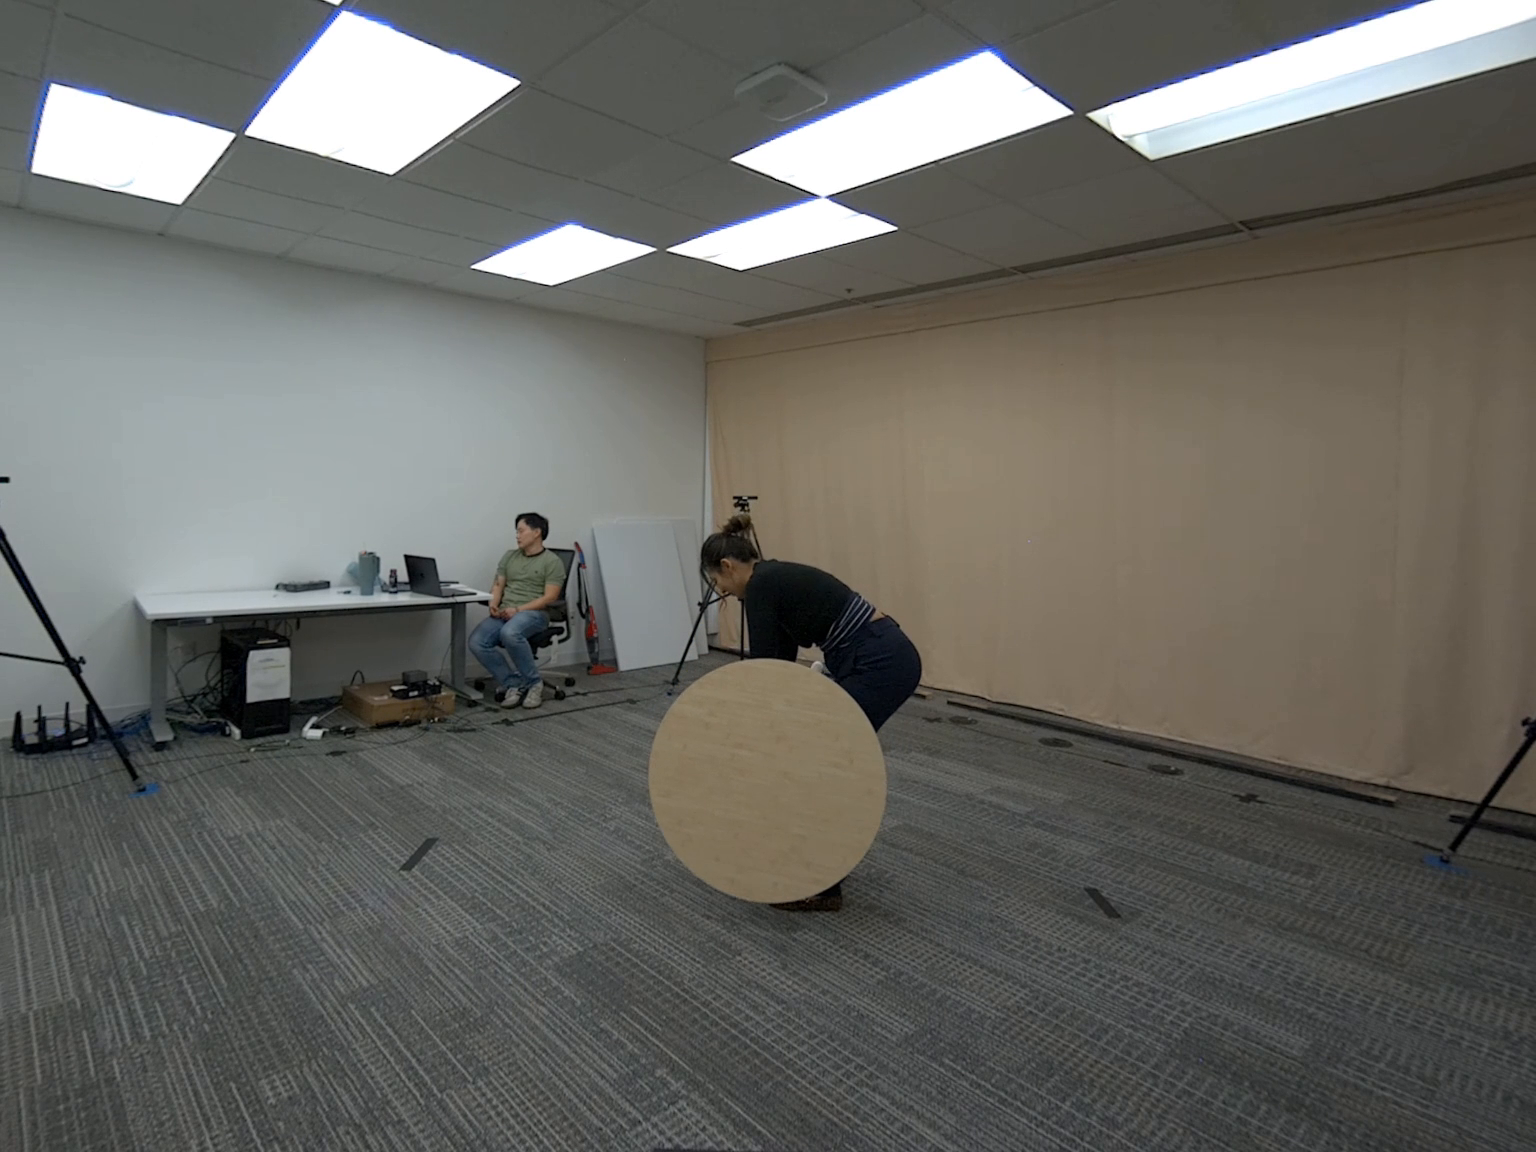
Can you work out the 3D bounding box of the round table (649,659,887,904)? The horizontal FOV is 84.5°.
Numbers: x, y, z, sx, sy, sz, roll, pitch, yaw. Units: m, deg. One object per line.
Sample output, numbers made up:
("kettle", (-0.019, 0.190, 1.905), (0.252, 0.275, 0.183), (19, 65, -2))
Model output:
("round table", (0.022, 0.662, 3.080), (0.768, 0.765, 0.788), (2, -2, 6))
